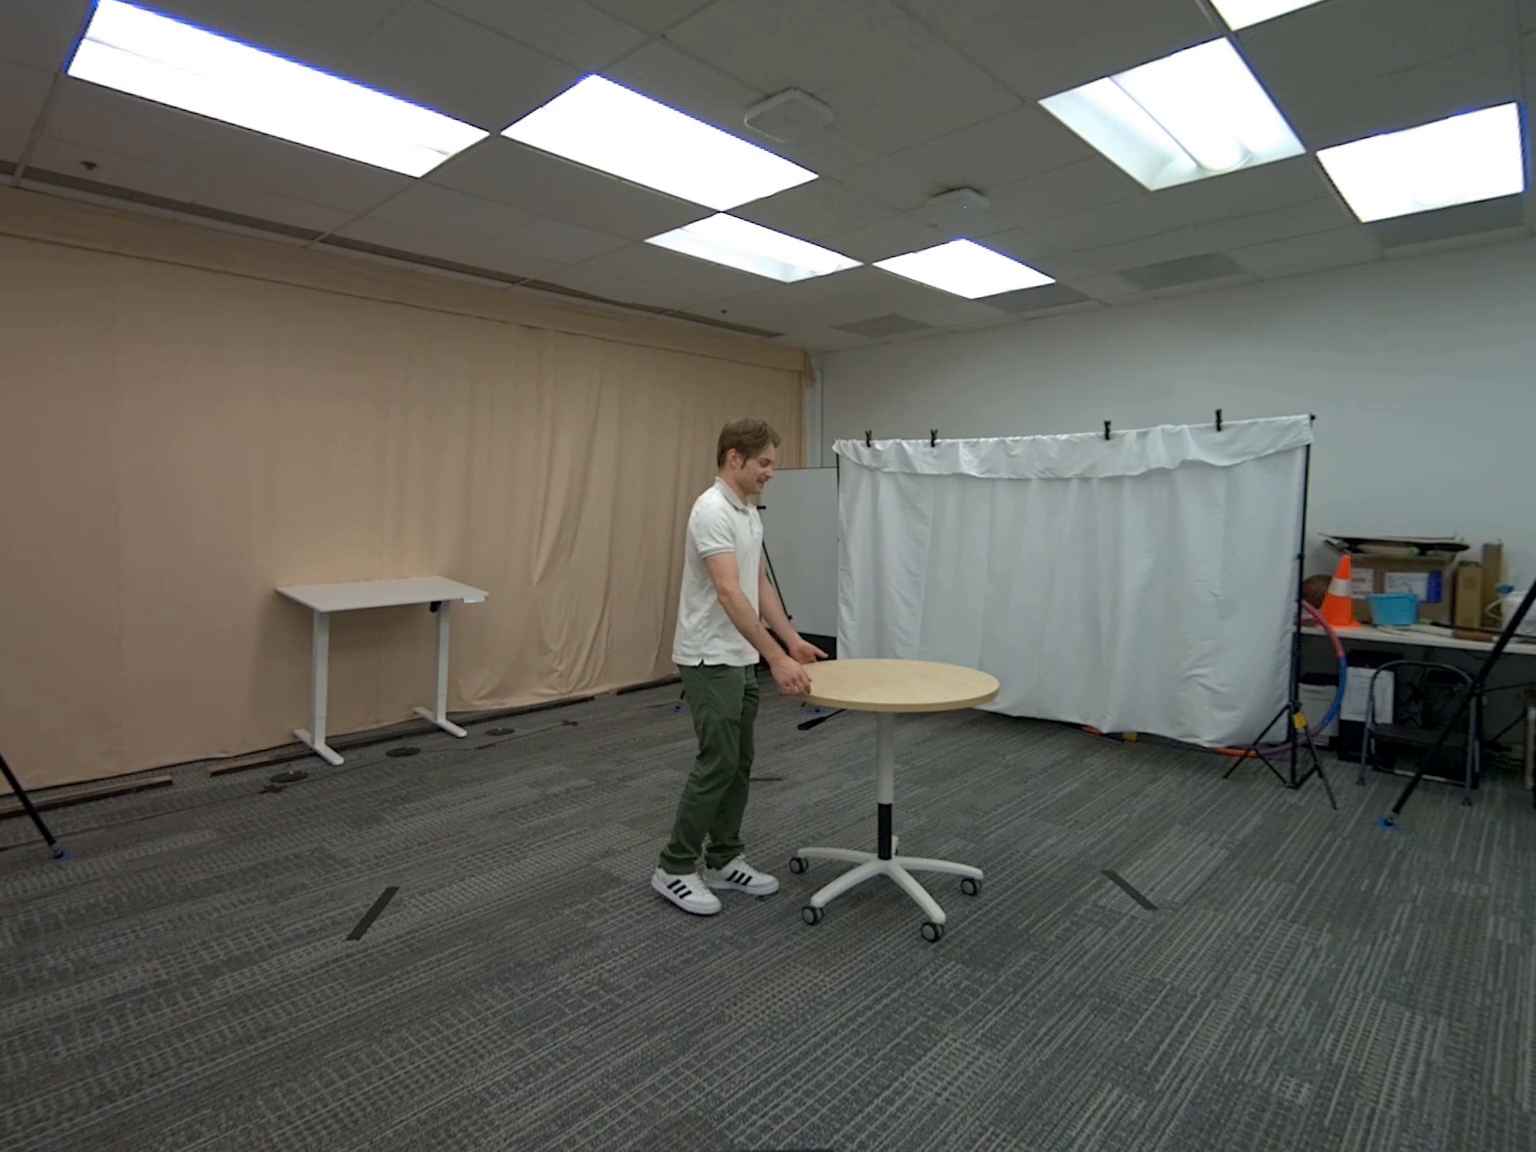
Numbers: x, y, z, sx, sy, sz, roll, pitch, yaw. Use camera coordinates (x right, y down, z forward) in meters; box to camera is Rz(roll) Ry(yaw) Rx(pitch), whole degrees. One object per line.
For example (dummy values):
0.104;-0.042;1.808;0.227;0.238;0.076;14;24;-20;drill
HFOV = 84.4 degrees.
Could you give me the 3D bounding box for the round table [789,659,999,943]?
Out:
0.416;0.755;2.977;0.763;0.792;0.766;0;4;-2;round table
